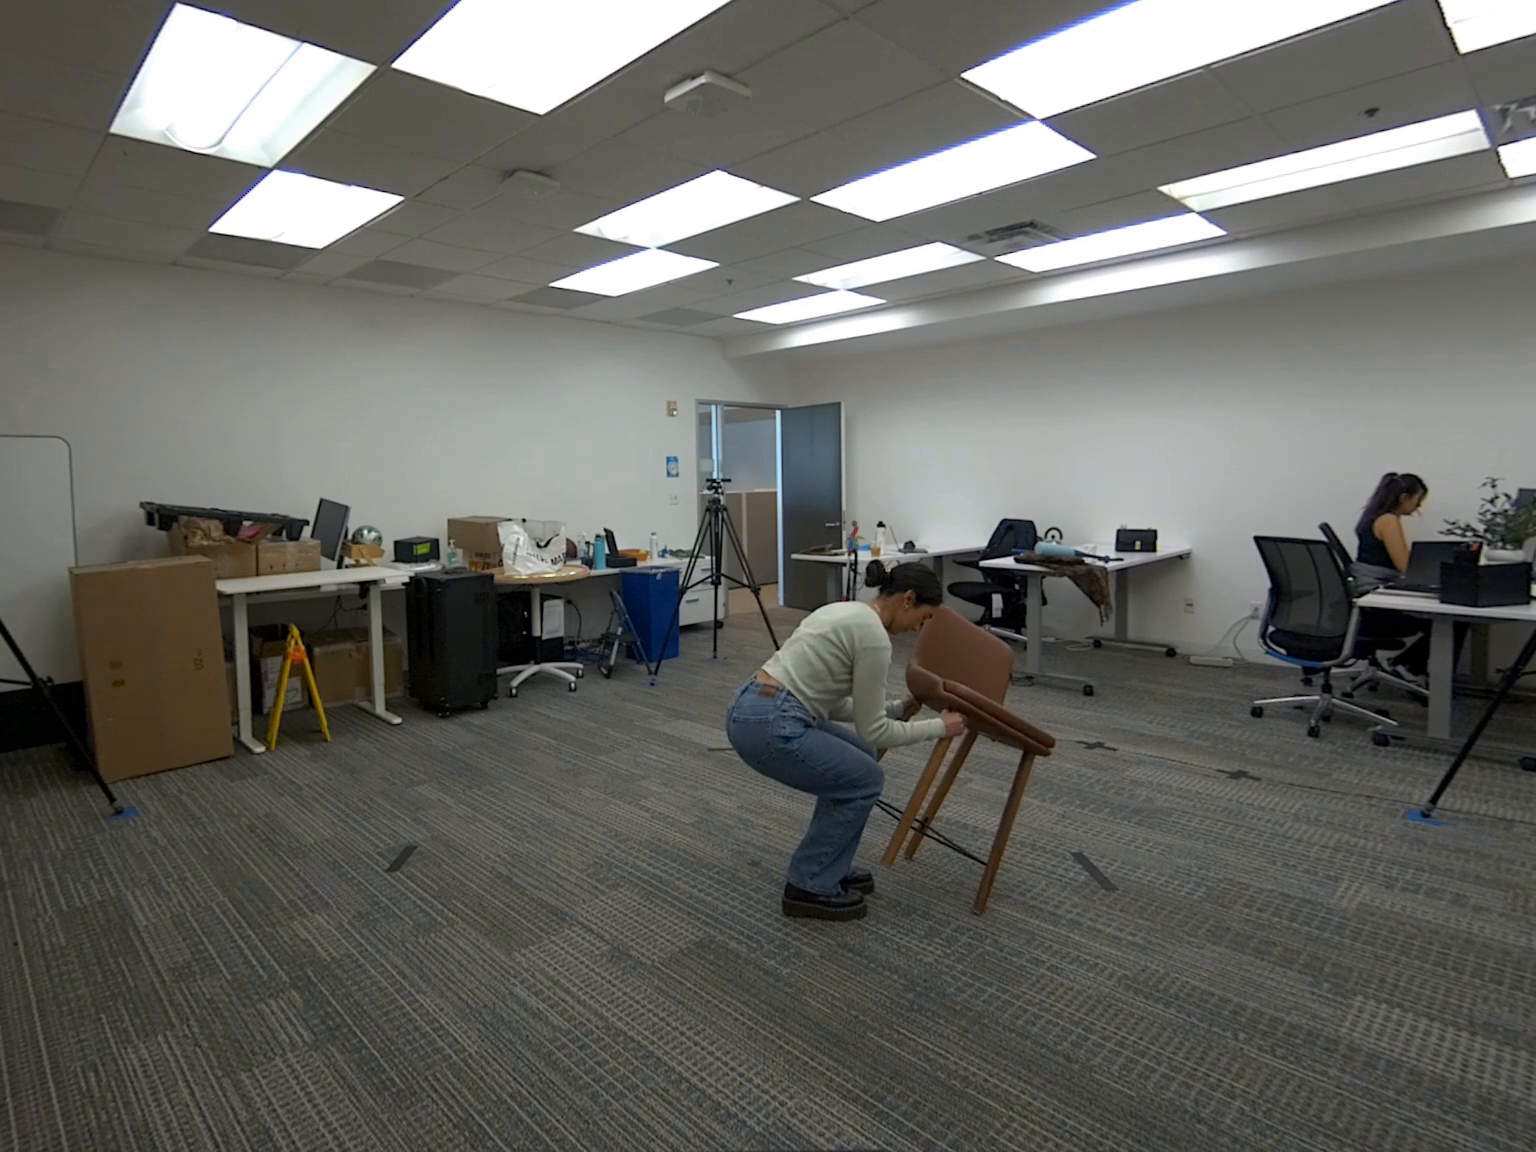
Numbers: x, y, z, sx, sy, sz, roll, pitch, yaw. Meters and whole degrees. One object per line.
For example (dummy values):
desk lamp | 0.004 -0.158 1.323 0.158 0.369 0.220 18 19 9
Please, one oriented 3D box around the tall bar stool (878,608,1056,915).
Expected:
tall bar stool | 0.648 0.582 2.930 0.447 0.892 0.476 30 -9 -18
